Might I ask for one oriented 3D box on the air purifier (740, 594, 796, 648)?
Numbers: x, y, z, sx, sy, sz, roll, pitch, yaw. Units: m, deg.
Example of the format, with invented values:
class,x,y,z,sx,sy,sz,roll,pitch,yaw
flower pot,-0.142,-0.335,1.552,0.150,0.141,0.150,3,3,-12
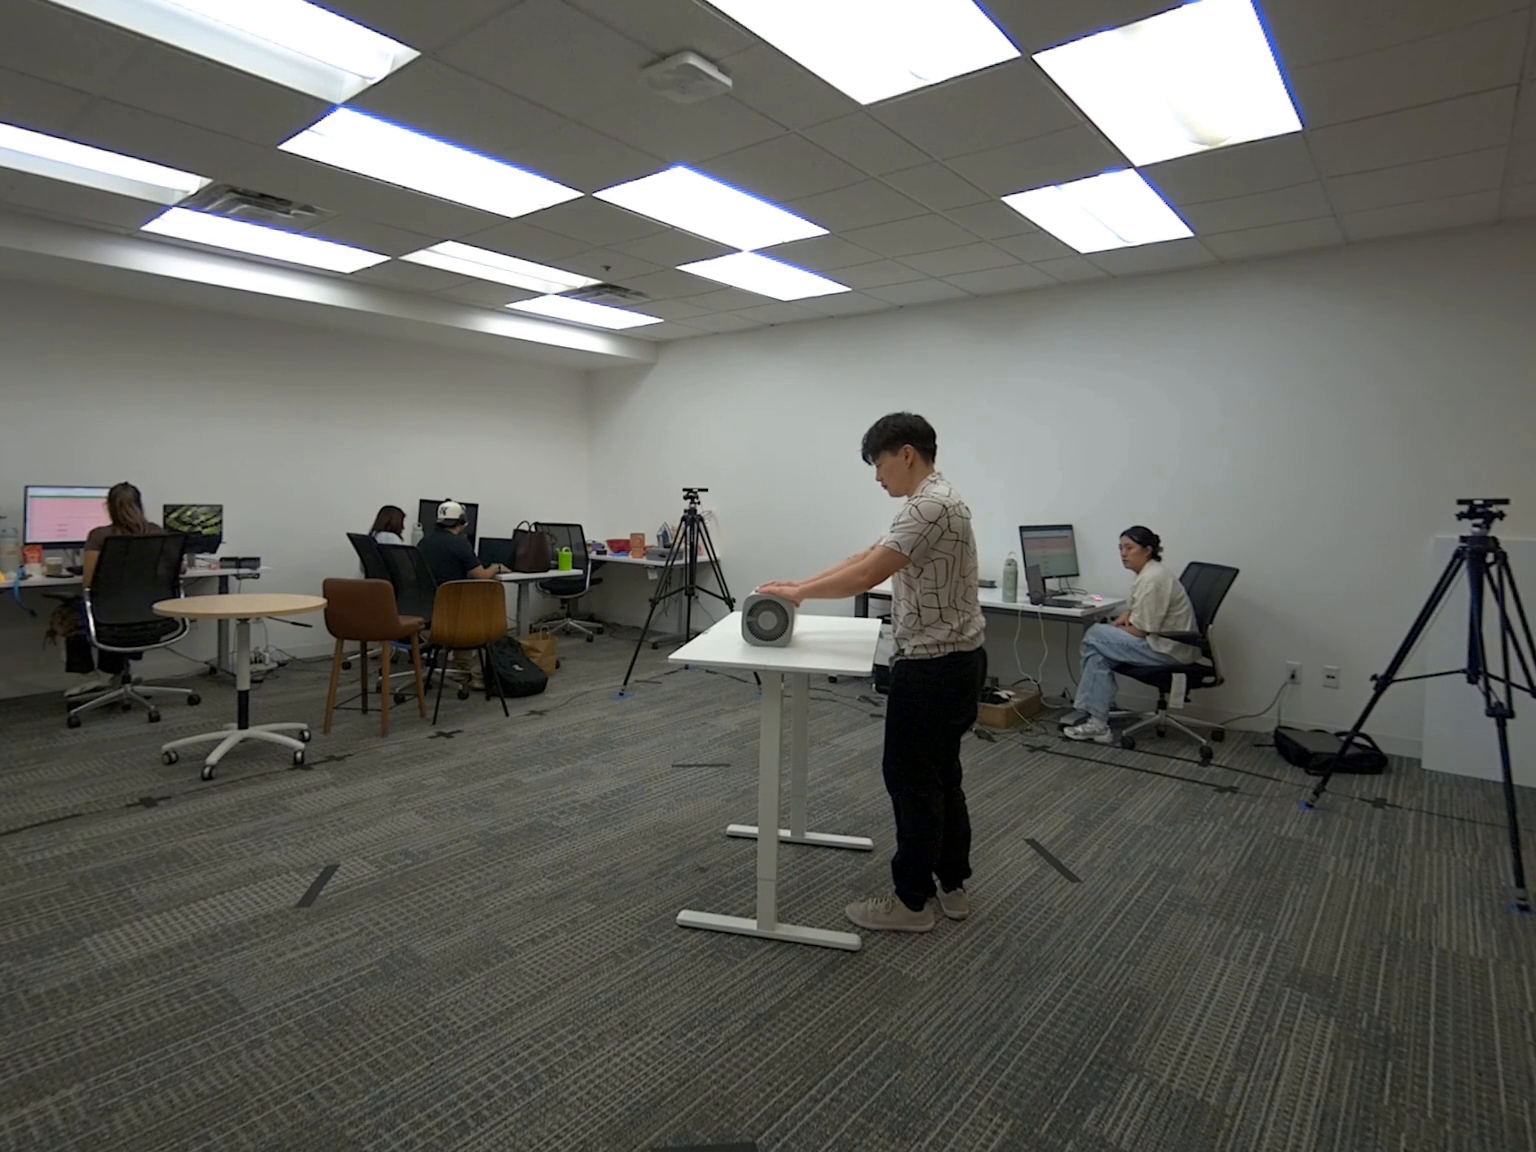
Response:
class,x,y,z,sx,sy,sz,roll,pitch,yaw
air purifier,0.004,0.127,2.884,0.173,0.170,0.264,5,6,7
